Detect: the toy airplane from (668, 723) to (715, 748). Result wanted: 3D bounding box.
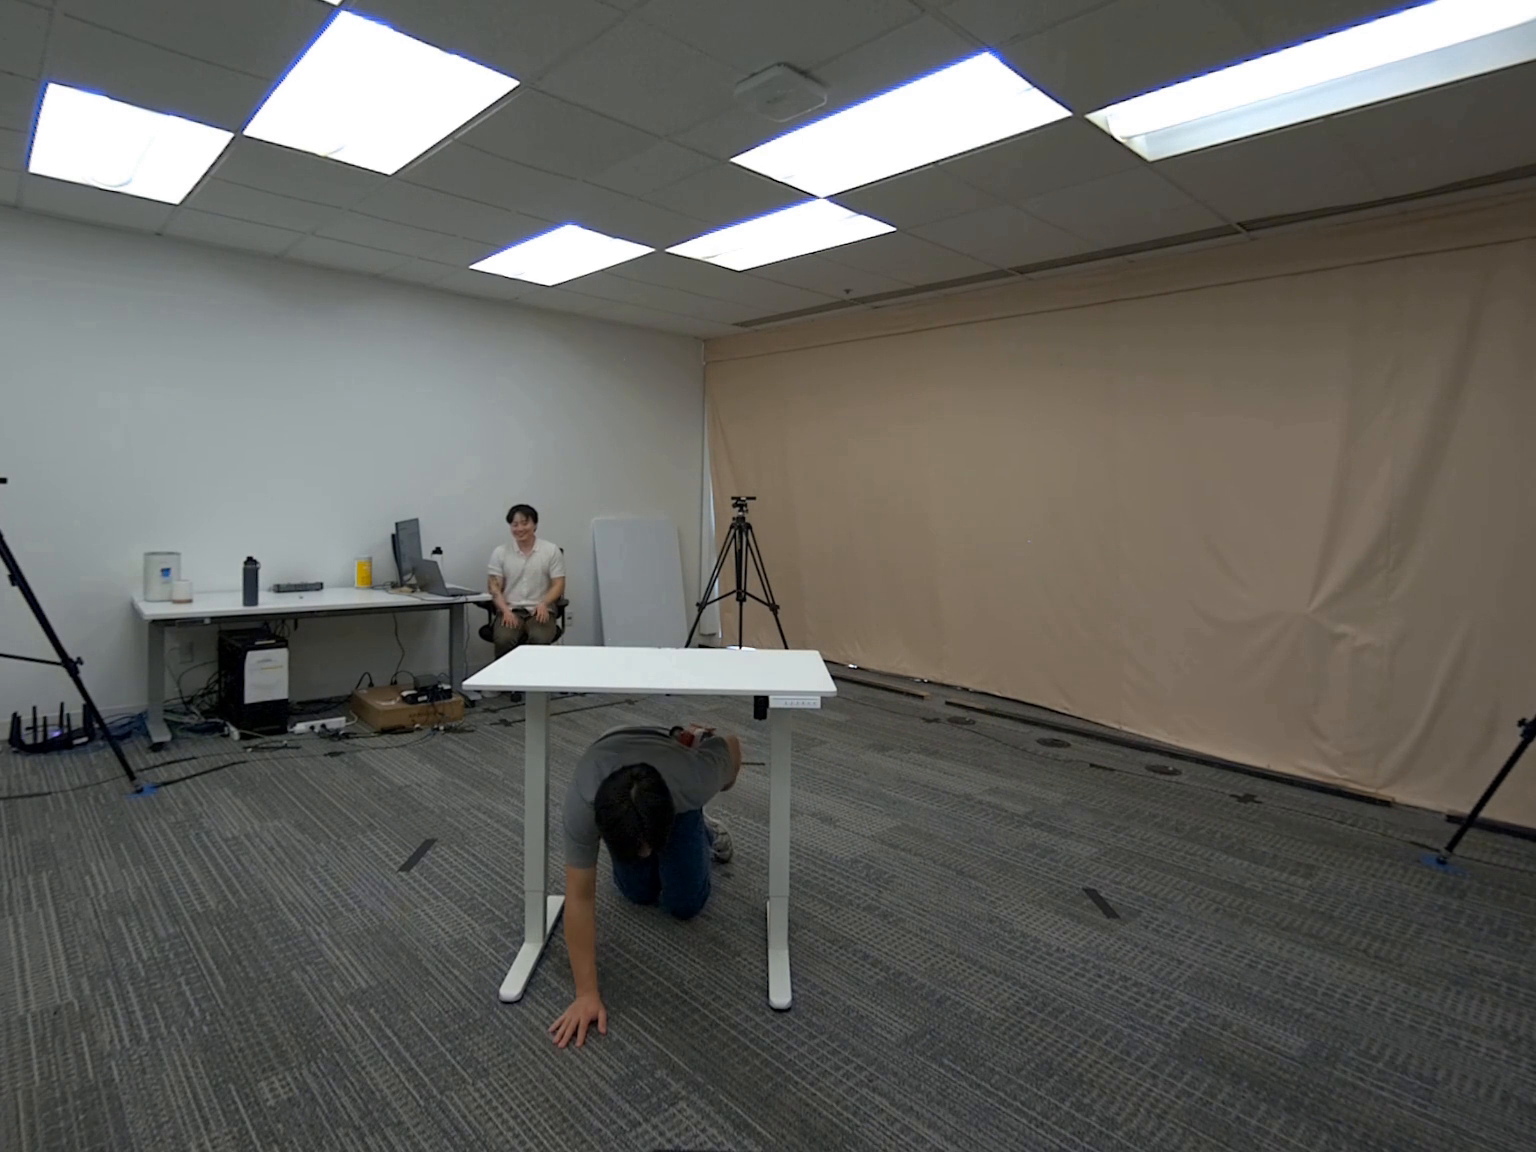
[{"bbox_3d":[-0.260,0.621,2.743,0.158,0.259,0.249,0,2,10],"label":"toy airplane"}]
